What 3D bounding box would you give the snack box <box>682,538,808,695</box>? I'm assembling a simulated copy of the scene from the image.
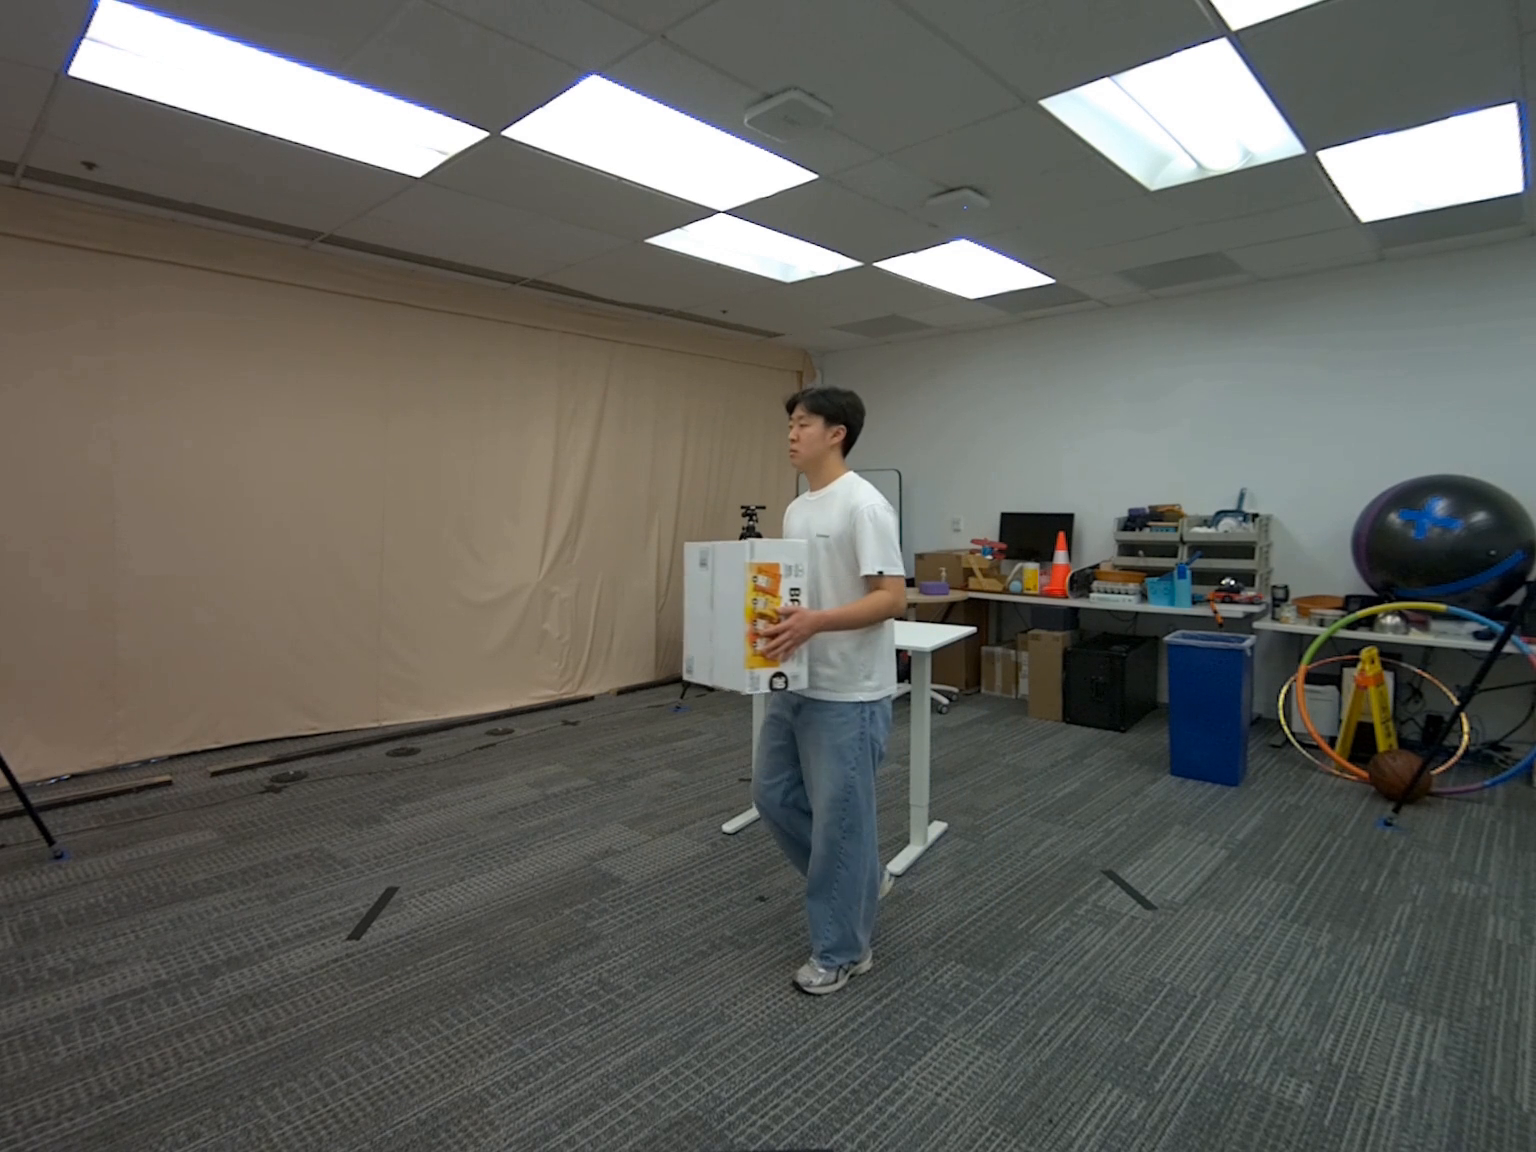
[{"bbox_3d":[-0.065,0.104,2.383,0.200,0.405,0.350,1,-2,-33],"label":"snack box"}]
